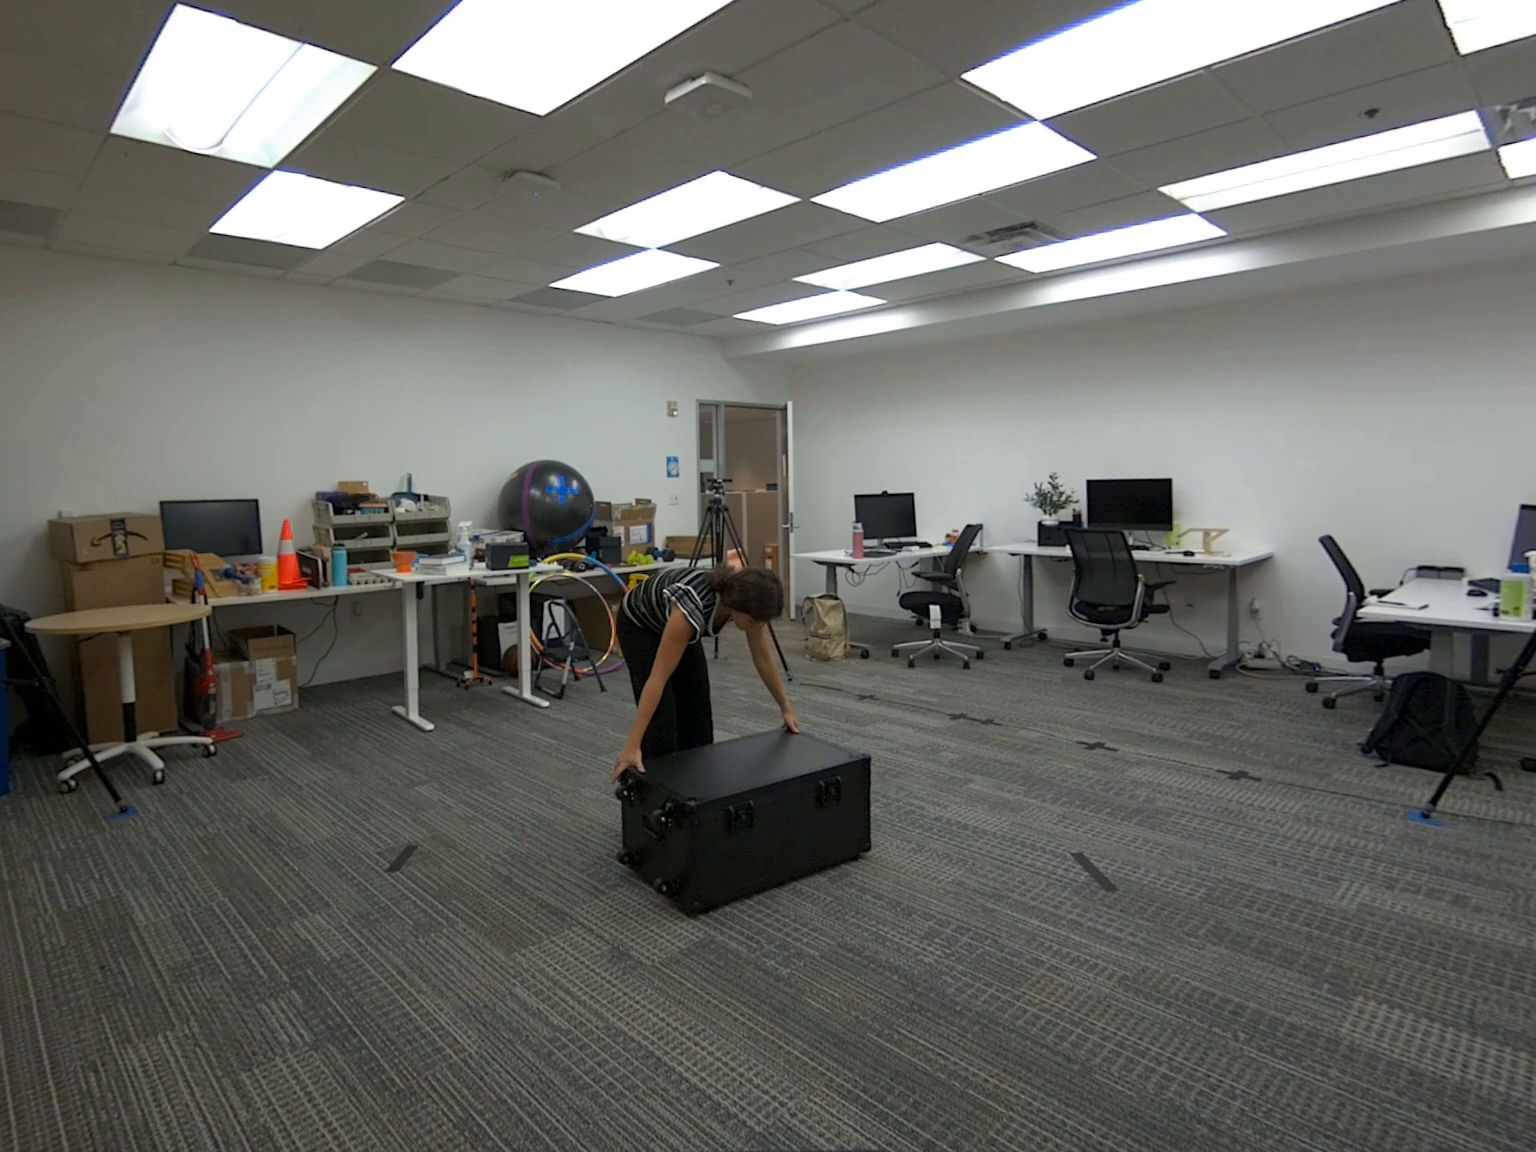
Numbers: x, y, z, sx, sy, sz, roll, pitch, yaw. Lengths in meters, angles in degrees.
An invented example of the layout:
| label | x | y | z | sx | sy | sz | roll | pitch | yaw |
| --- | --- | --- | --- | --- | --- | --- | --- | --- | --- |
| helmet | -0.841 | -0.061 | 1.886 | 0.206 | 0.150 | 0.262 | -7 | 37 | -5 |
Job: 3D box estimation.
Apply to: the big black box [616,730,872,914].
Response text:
| label | x | y | z | sx | sy | sz | roll | pitch | yaw |
| --- | --- | --- | --- | --- | --- | --- | --- | --- | --- |
| big black box | -0.103 | 0.854 | 3.095 | 0.839 | 0.395 | 0.537 | -4 | 6 | -35 |
